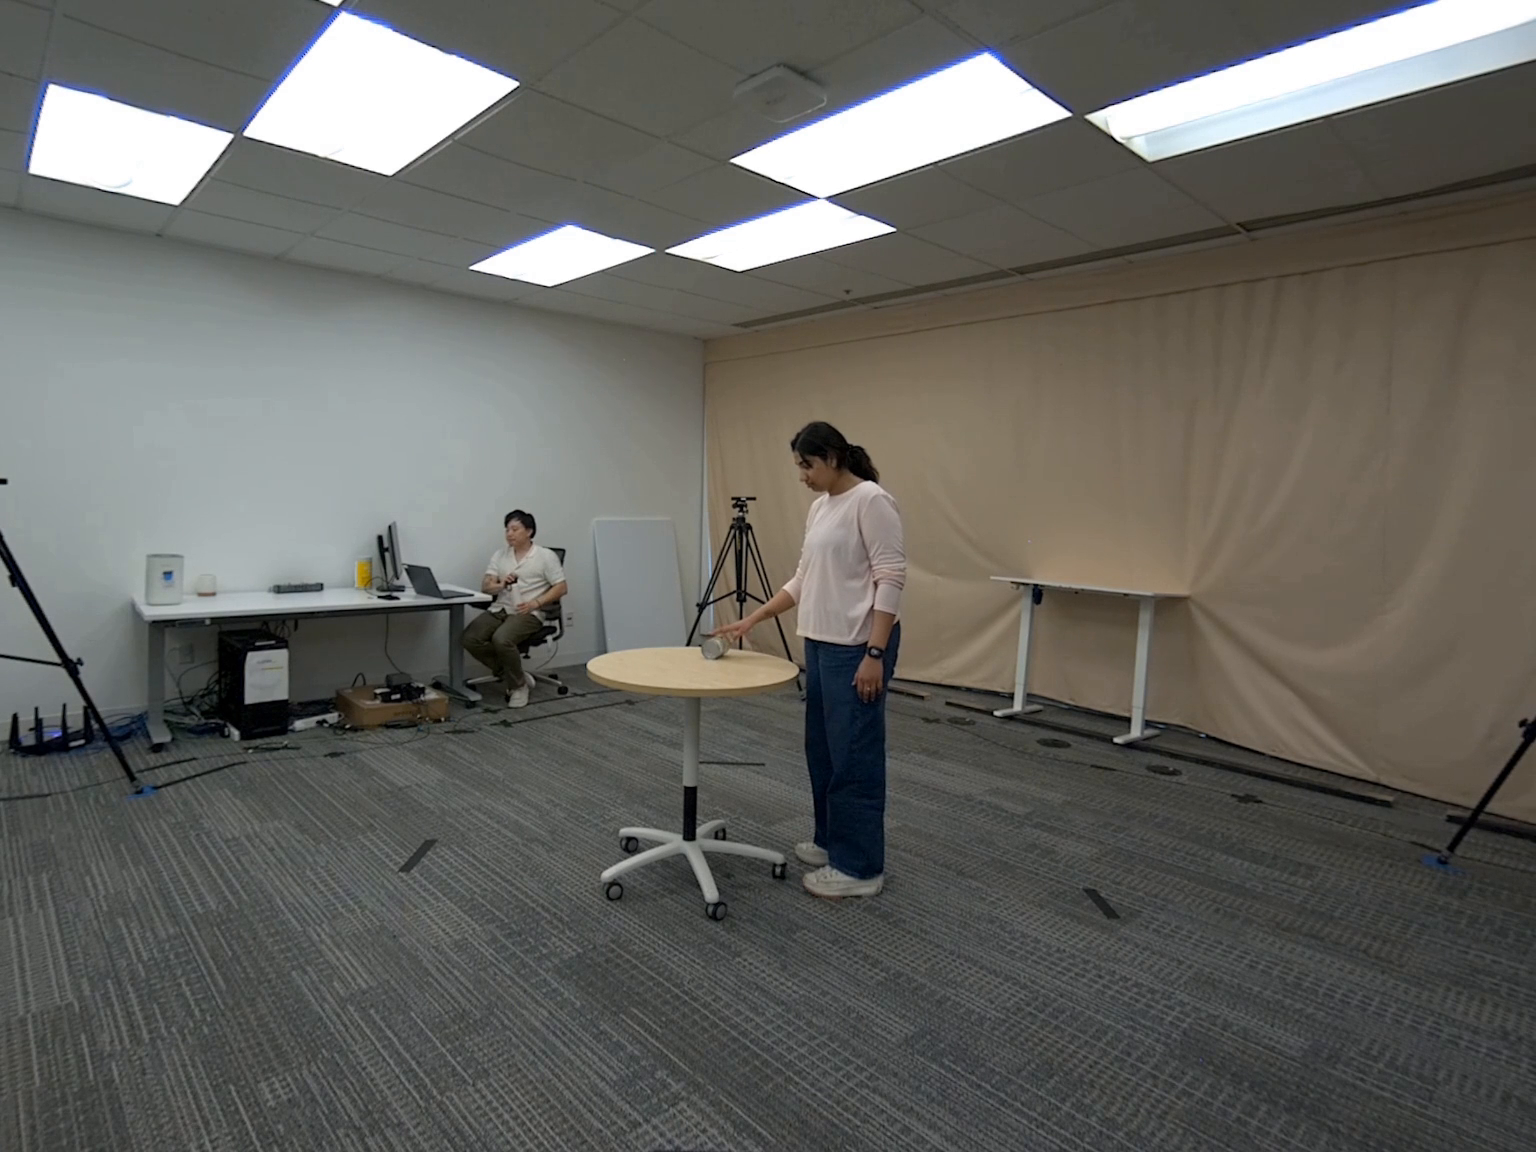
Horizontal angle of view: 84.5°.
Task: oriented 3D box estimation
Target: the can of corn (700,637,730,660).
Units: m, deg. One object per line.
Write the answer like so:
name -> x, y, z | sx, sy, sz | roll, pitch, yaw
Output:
can of corn -> -0.202, 0.272, 3.226 | 0.075, 0.074, 0.110 | 2, 5, 14
